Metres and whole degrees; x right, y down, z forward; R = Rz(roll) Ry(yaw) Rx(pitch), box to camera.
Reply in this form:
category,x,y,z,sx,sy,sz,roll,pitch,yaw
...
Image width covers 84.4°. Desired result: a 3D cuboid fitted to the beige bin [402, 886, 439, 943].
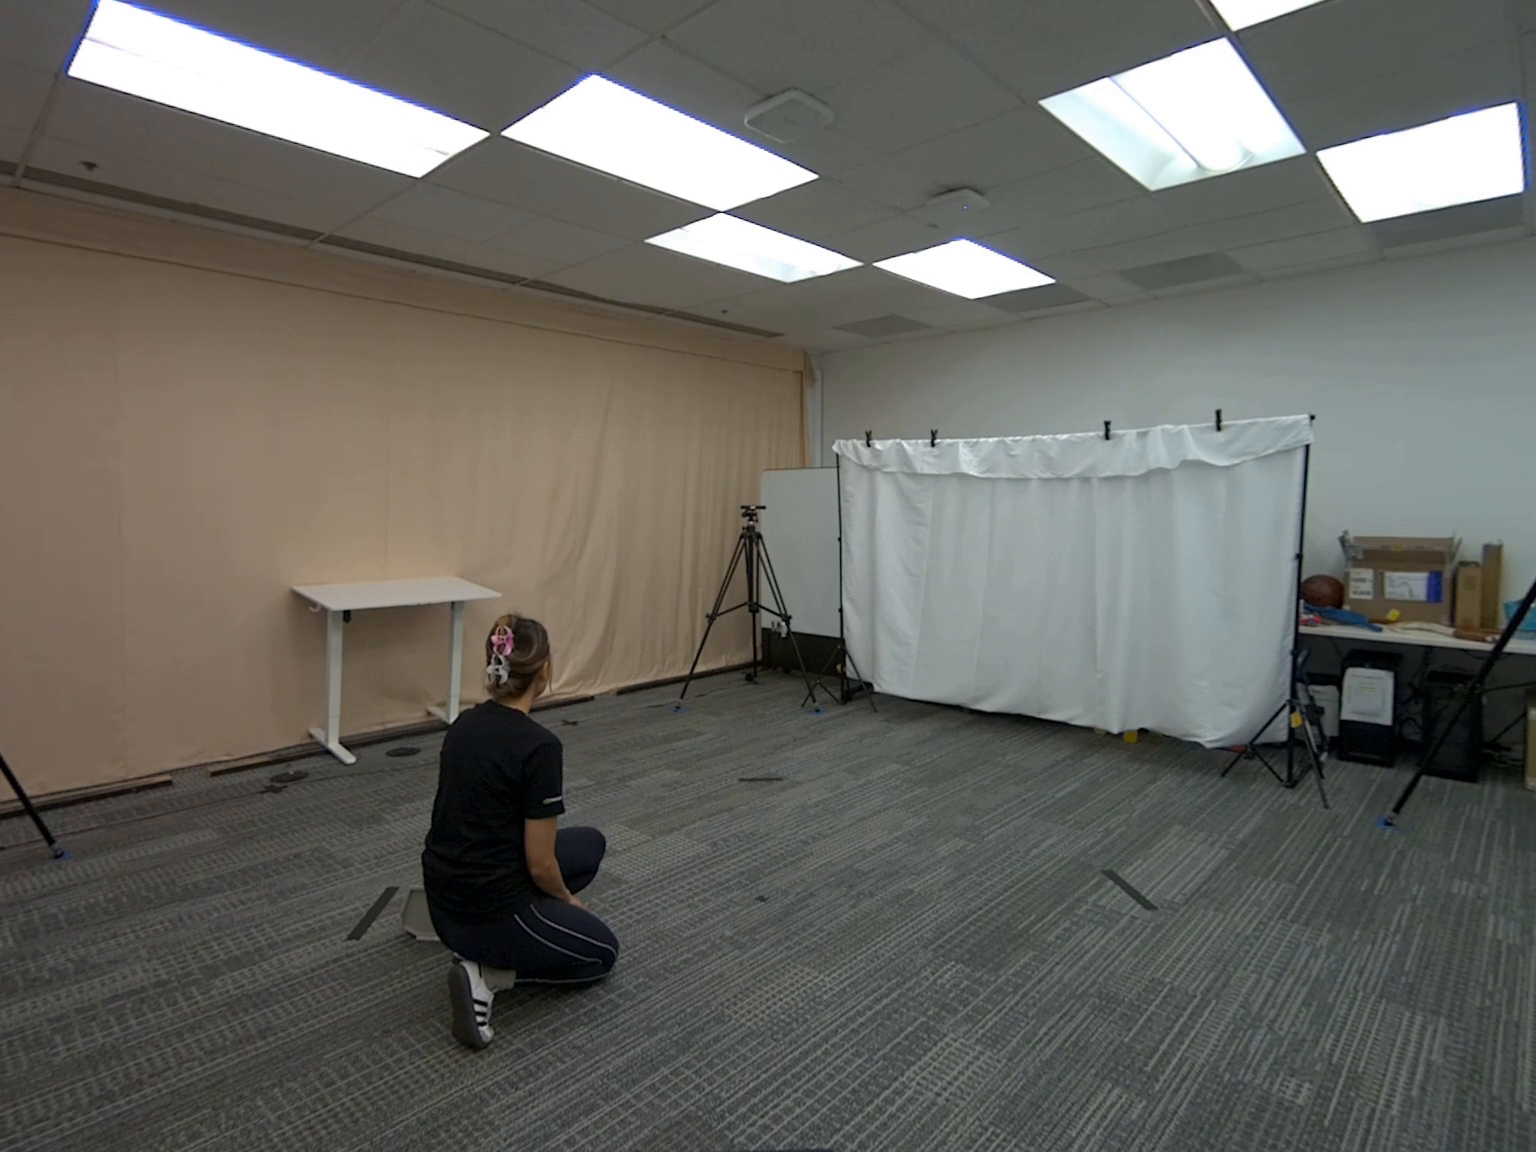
category,x,y,z,sx,sy,sz,roll,pitch,yaw
beige bin,-1.004,1.074,2.900,0.379,0.188,0.421,1,4,3
